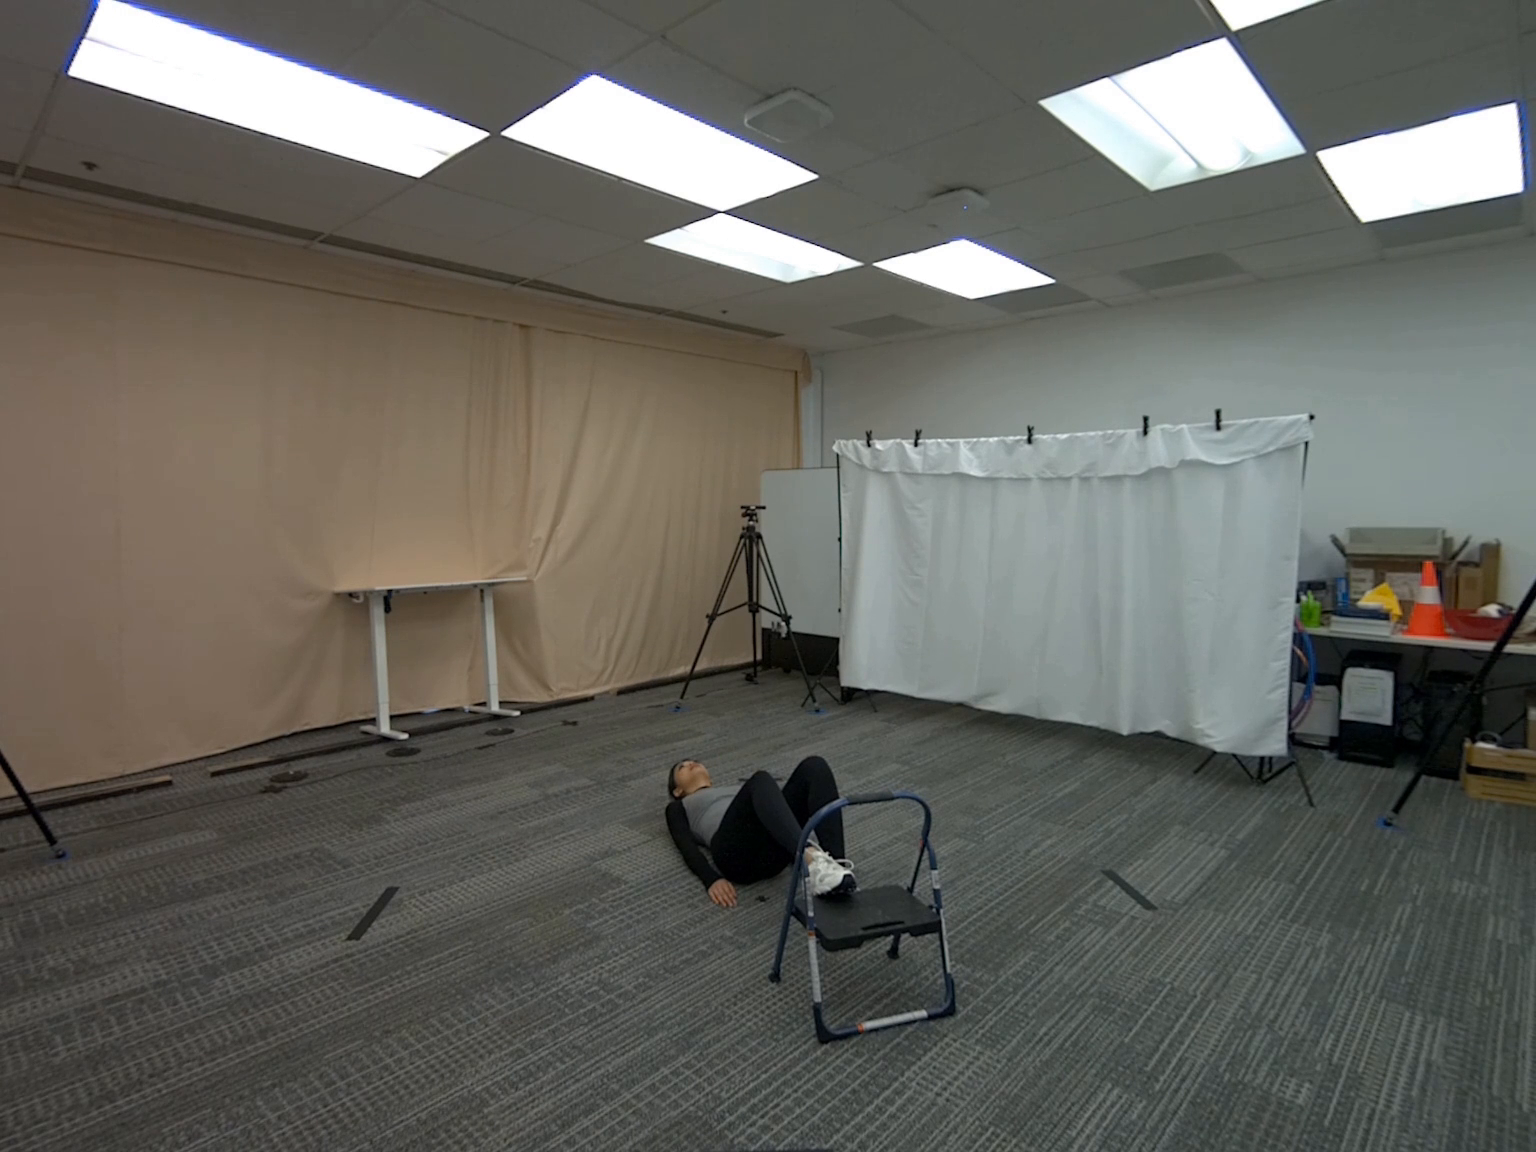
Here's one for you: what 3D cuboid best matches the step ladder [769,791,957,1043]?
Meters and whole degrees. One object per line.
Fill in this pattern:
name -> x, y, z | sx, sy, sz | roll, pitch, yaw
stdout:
step ladder -> 0.271, 0.895, 2.382 | 0.422, 0.605, 0.357 | -1, 3, -21
